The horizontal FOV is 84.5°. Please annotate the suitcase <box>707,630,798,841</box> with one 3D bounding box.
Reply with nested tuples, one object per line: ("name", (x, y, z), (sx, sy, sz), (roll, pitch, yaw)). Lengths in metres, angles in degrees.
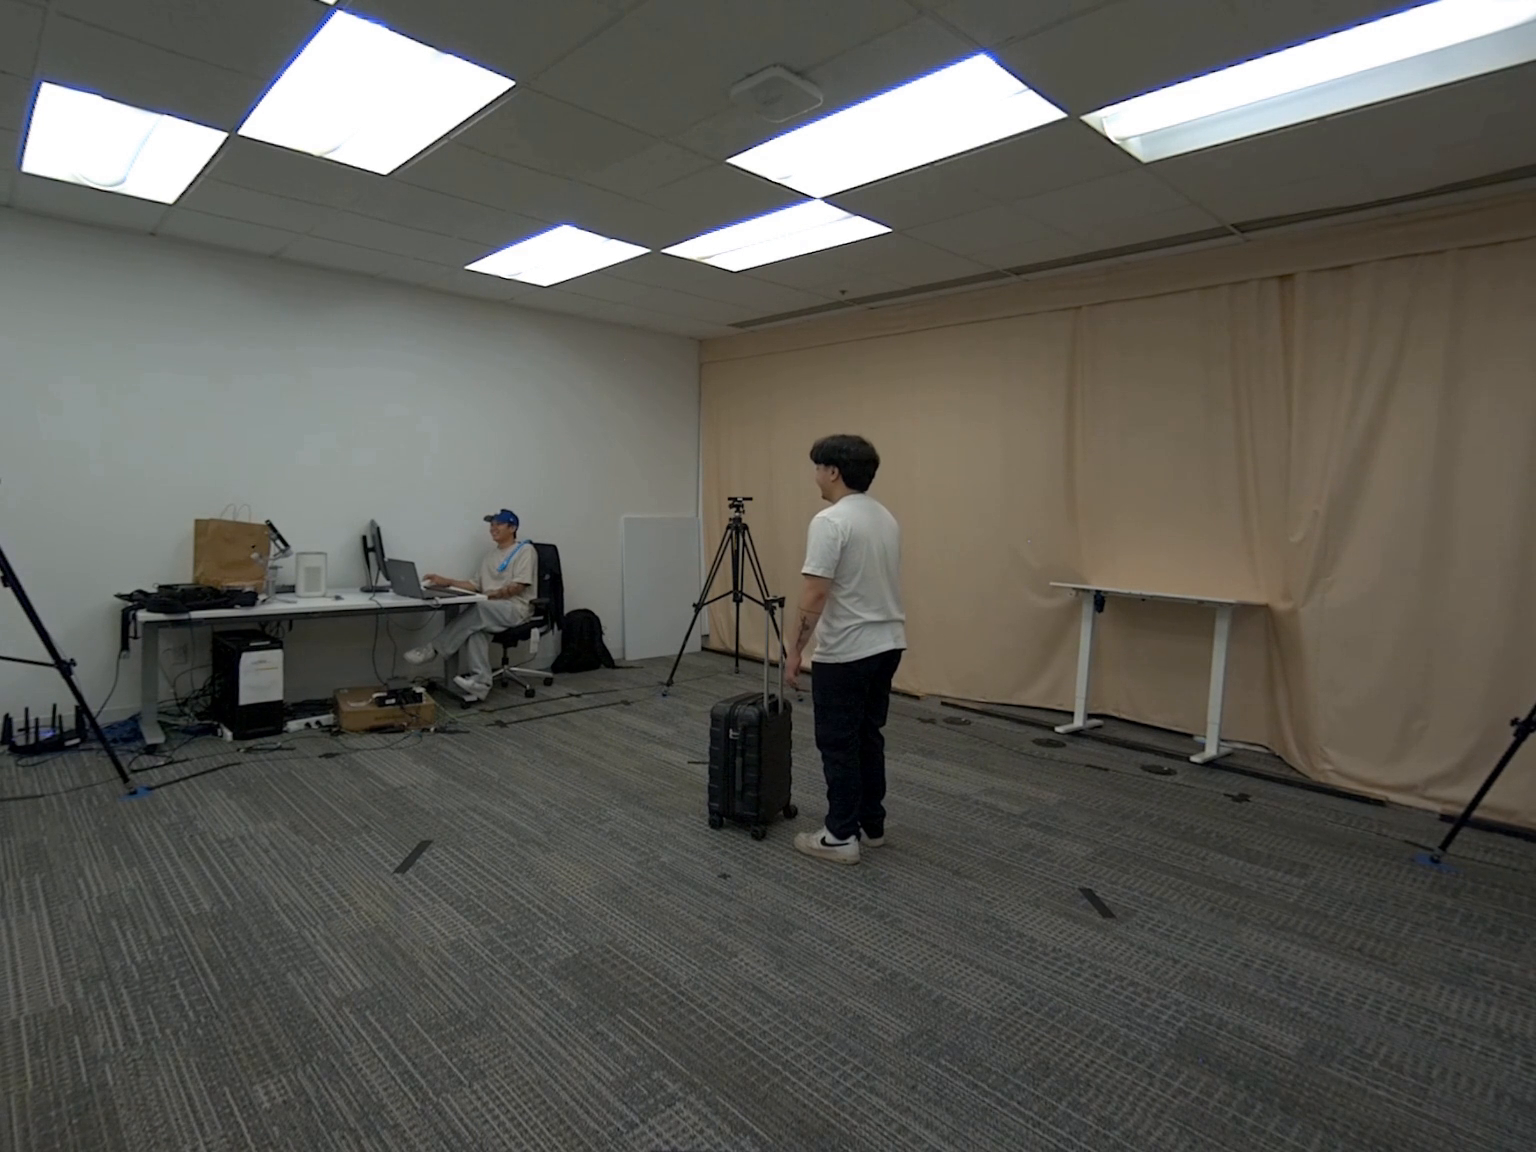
("suitcase", (-0.086, 0.588, 3.636), (0.262, 0.978, 0.376), (-2, 1, 30))
